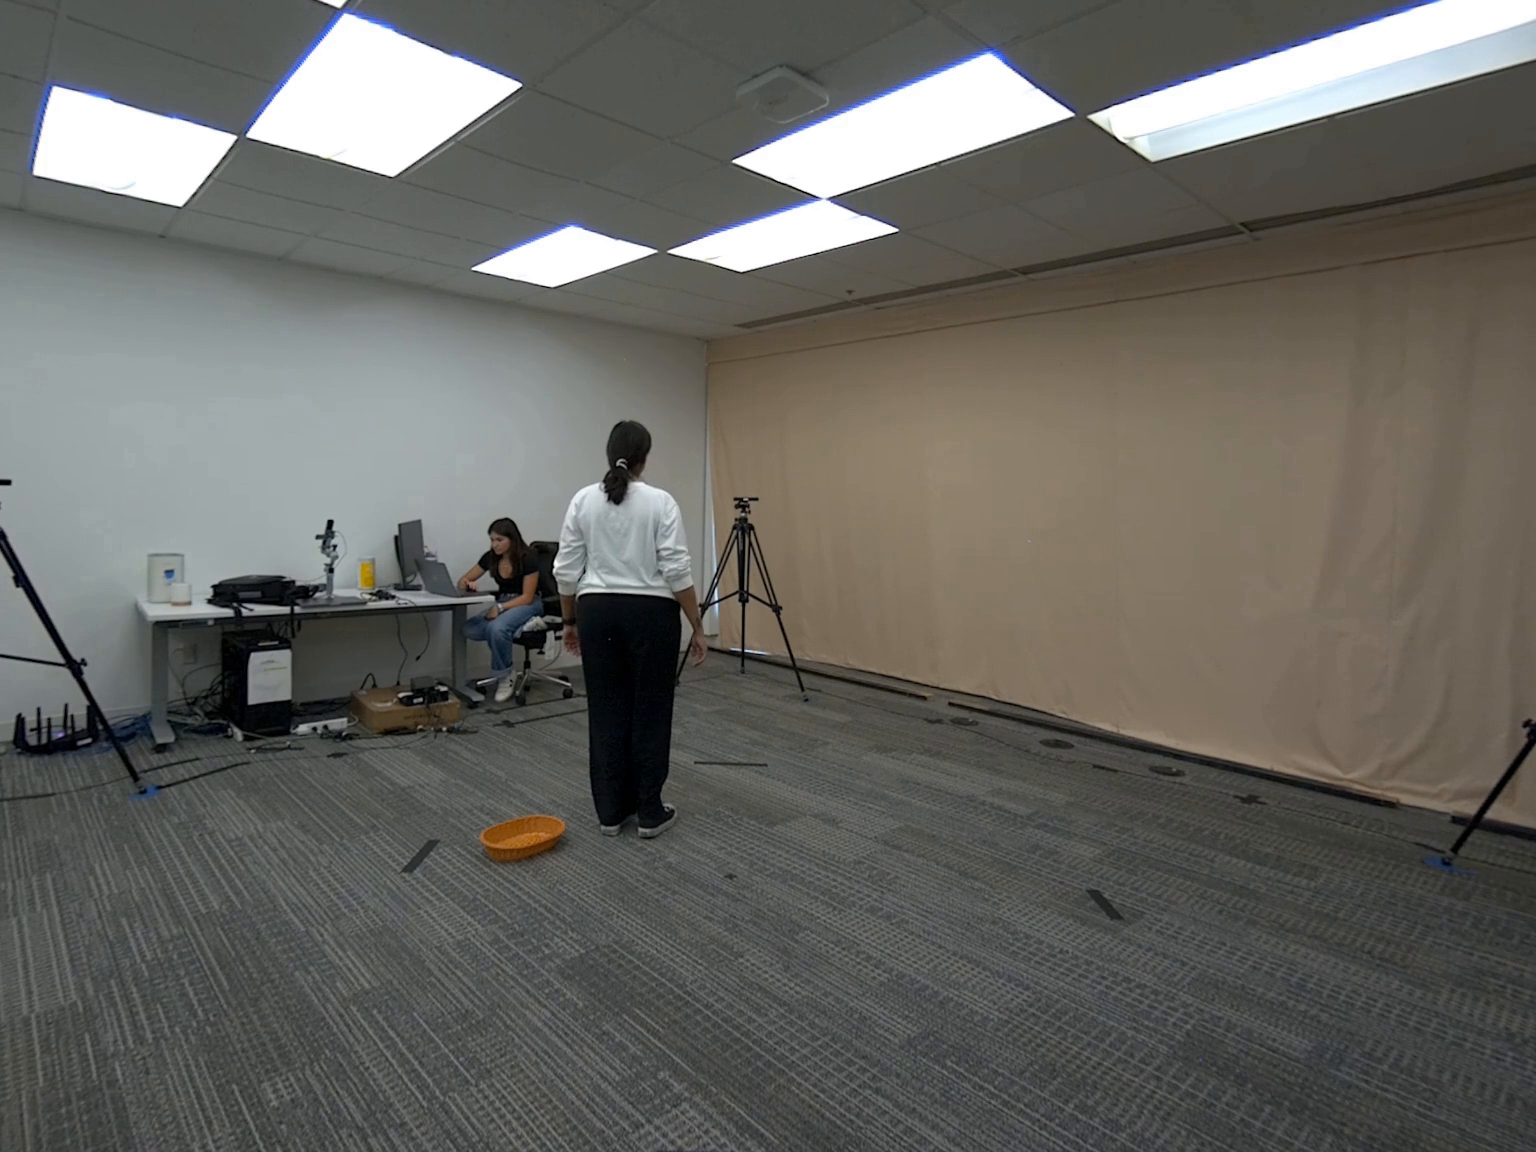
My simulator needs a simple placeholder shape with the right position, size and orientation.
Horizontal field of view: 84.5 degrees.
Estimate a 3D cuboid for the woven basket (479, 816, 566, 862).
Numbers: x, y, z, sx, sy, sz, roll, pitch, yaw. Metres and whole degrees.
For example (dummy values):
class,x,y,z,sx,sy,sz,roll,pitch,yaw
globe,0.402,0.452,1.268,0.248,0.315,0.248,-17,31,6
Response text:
class,x,y,z,sx,sy,sz,roll,pitch,yaw
woven basket,-0.963,1.034,3.301,0.259,0.073,0.342,8,8,42
